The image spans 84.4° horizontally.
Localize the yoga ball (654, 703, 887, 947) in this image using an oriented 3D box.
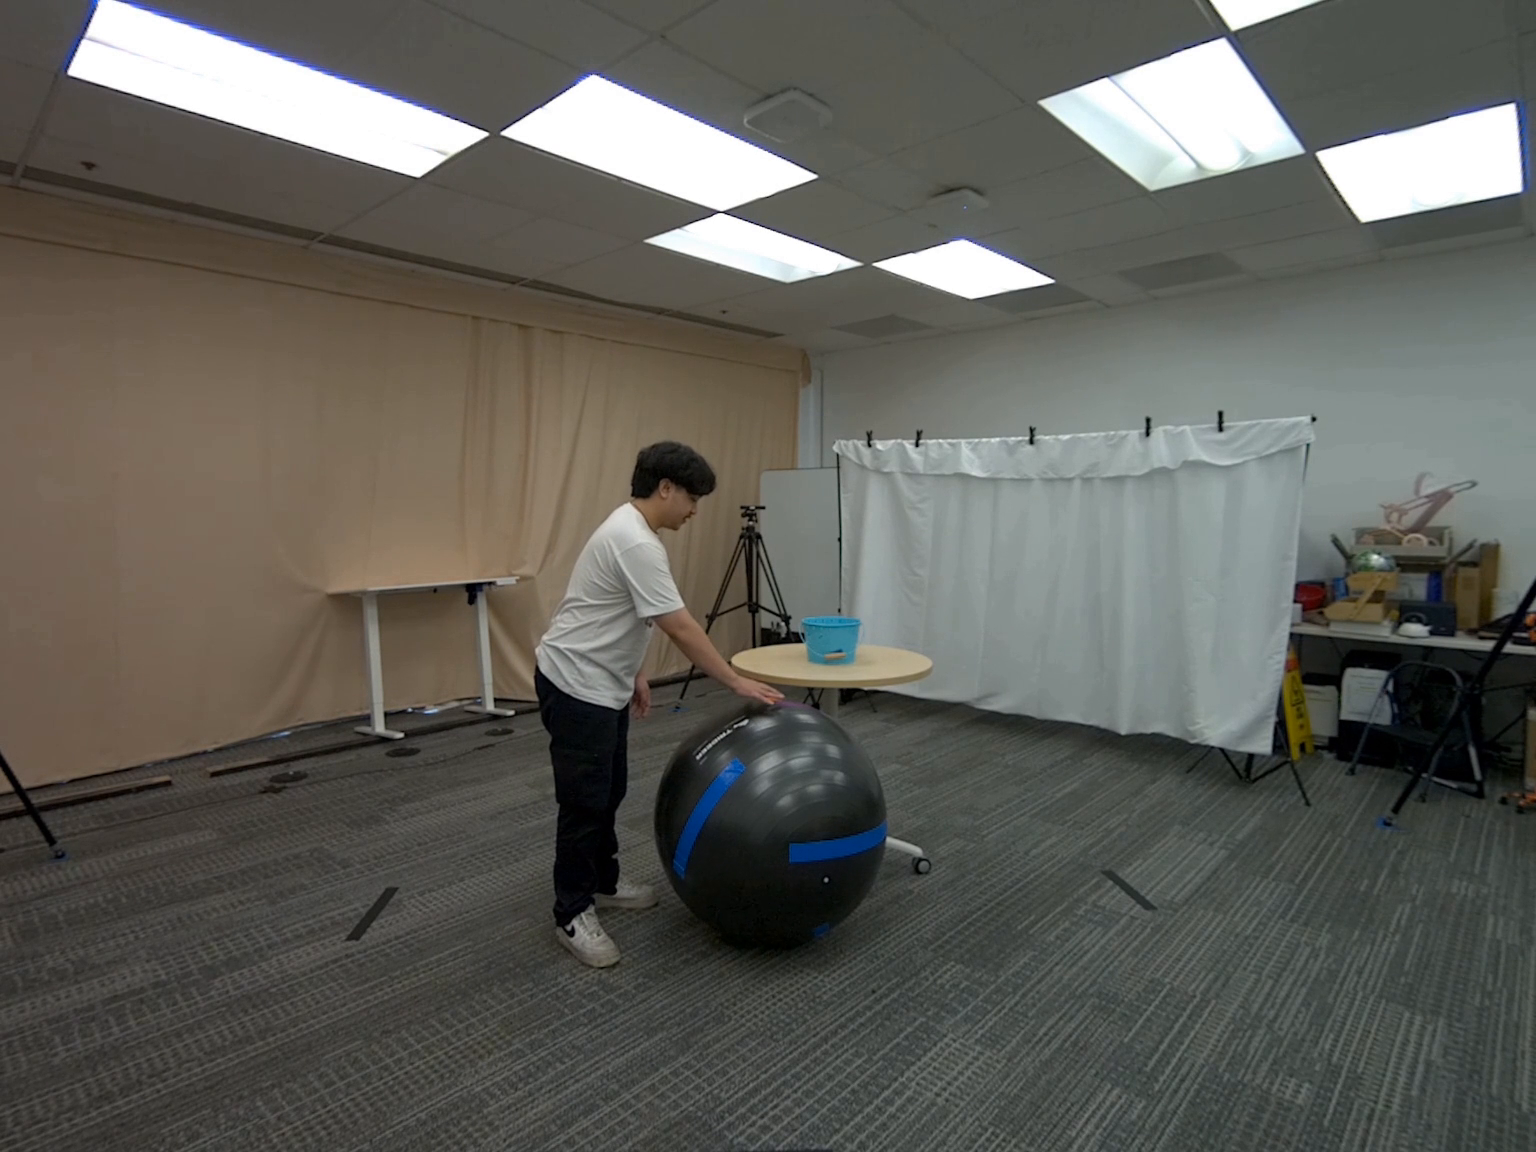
[{"bbox_3d":[0.014,0.792,2.750,0.757,0.756,0.761,0,4,-2],"label":"yoga ball"}]
